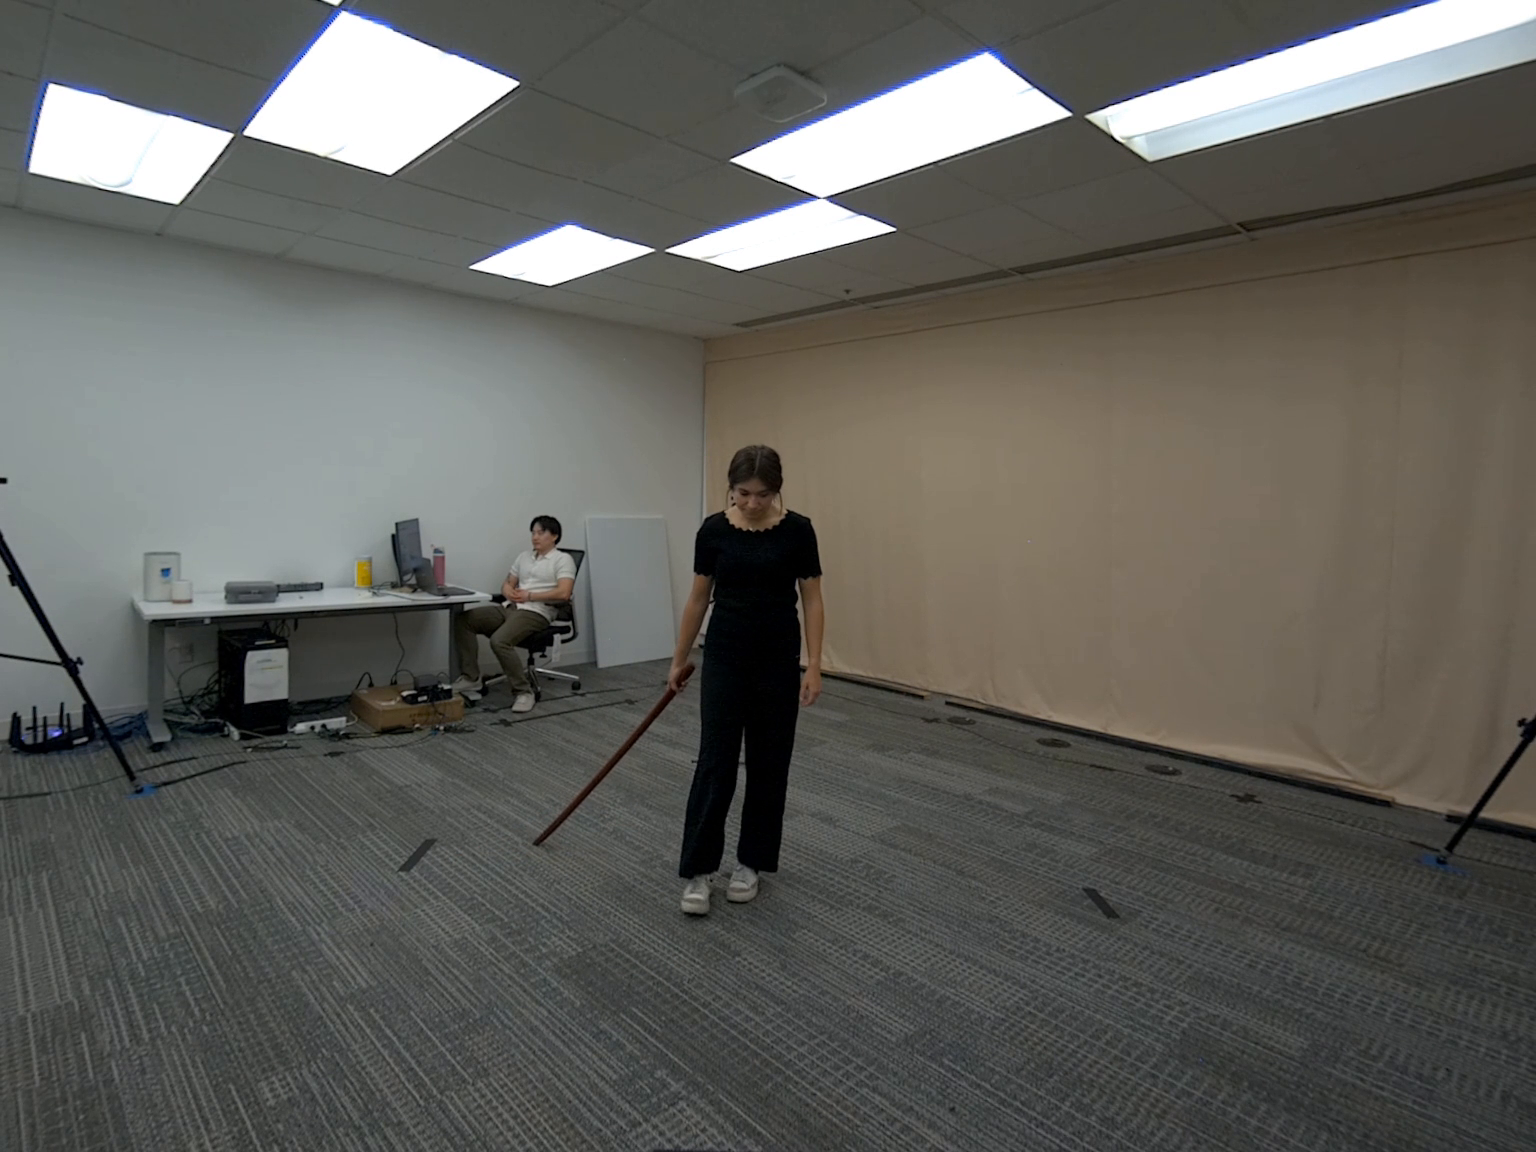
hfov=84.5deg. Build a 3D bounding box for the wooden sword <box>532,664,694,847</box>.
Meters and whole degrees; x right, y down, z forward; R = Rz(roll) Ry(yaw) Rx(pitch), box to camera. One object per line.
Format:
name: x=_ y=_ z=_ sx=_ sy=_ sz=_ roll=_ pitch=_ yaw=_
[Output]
wooden sword: x=-0.599 y=0.705 z=3.196 sx=0.023 sy=1.024 sz=0.052 roll=36 pitch=15 yaw=-21
